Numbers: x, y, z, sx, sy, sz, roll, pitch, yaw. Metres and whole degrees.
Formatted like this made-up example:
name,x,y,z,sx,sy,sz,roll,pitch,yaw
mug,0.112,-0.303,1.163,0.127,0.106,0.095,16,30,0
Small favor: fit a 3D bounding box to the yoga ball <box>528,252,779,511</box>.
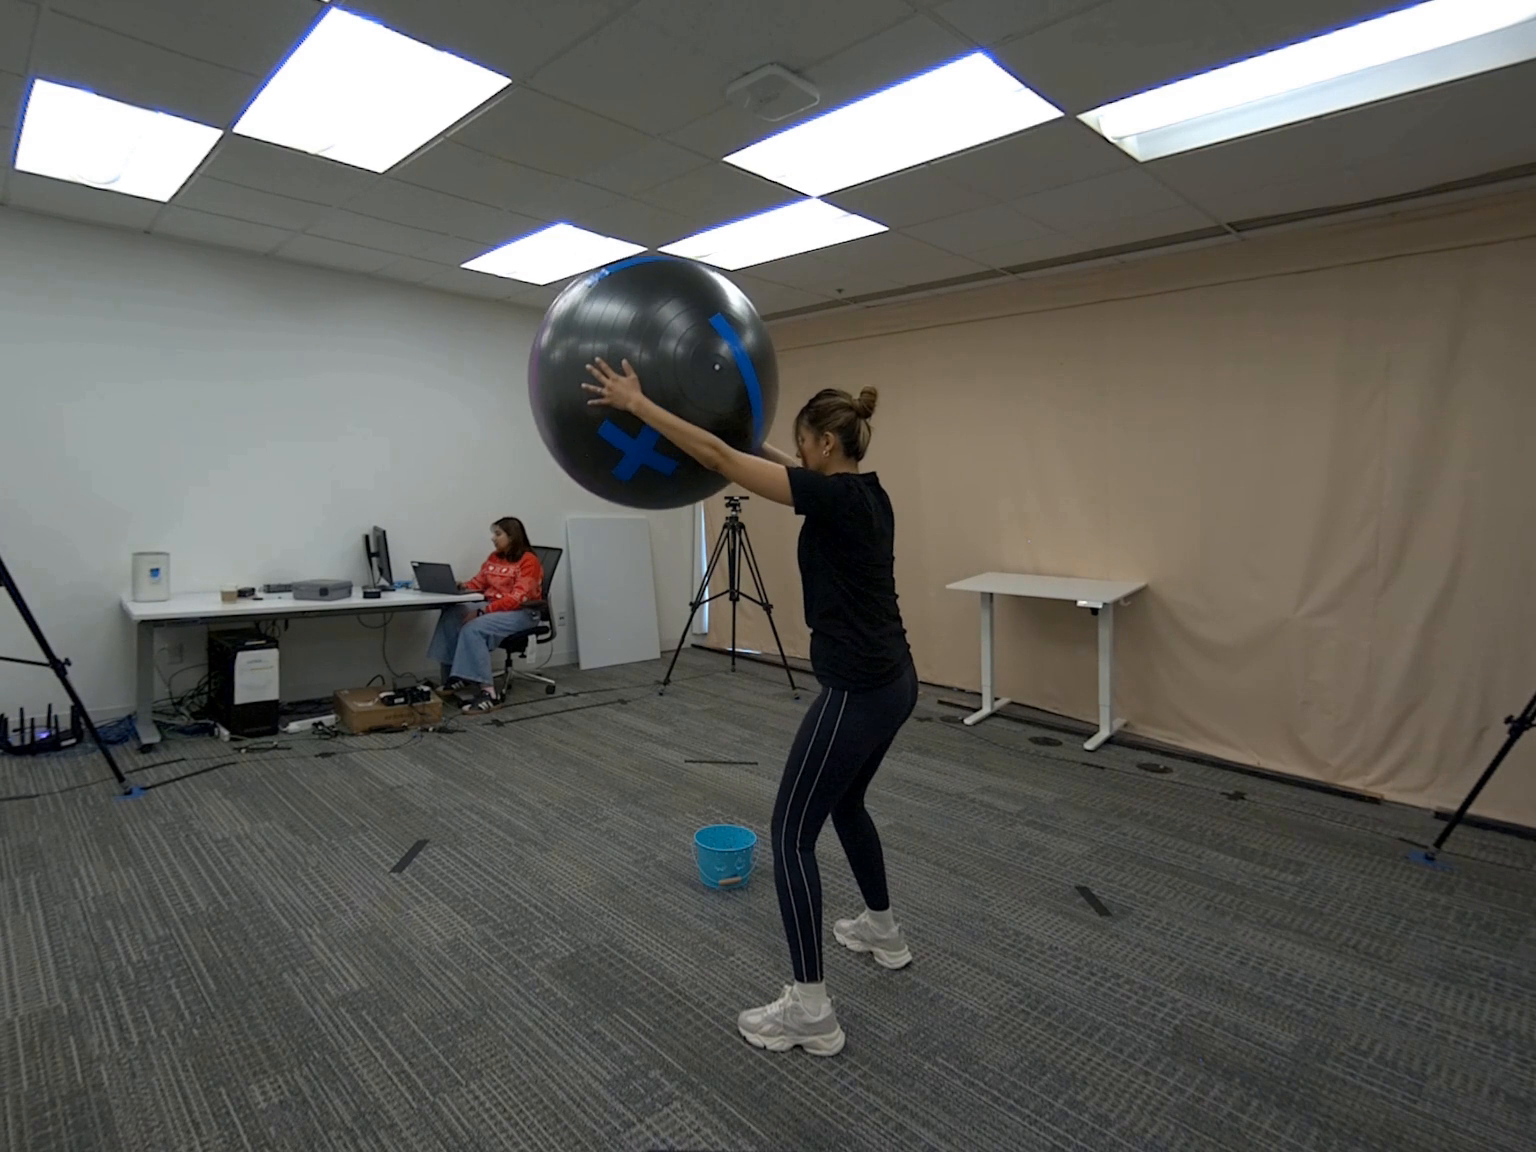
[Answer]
name,x,y,z,sx,sy,sz,roll,pitch,yaw
yoga ball,-0.345,-0.566,2.559,0.757,0.756,0.761,1,4,-1
